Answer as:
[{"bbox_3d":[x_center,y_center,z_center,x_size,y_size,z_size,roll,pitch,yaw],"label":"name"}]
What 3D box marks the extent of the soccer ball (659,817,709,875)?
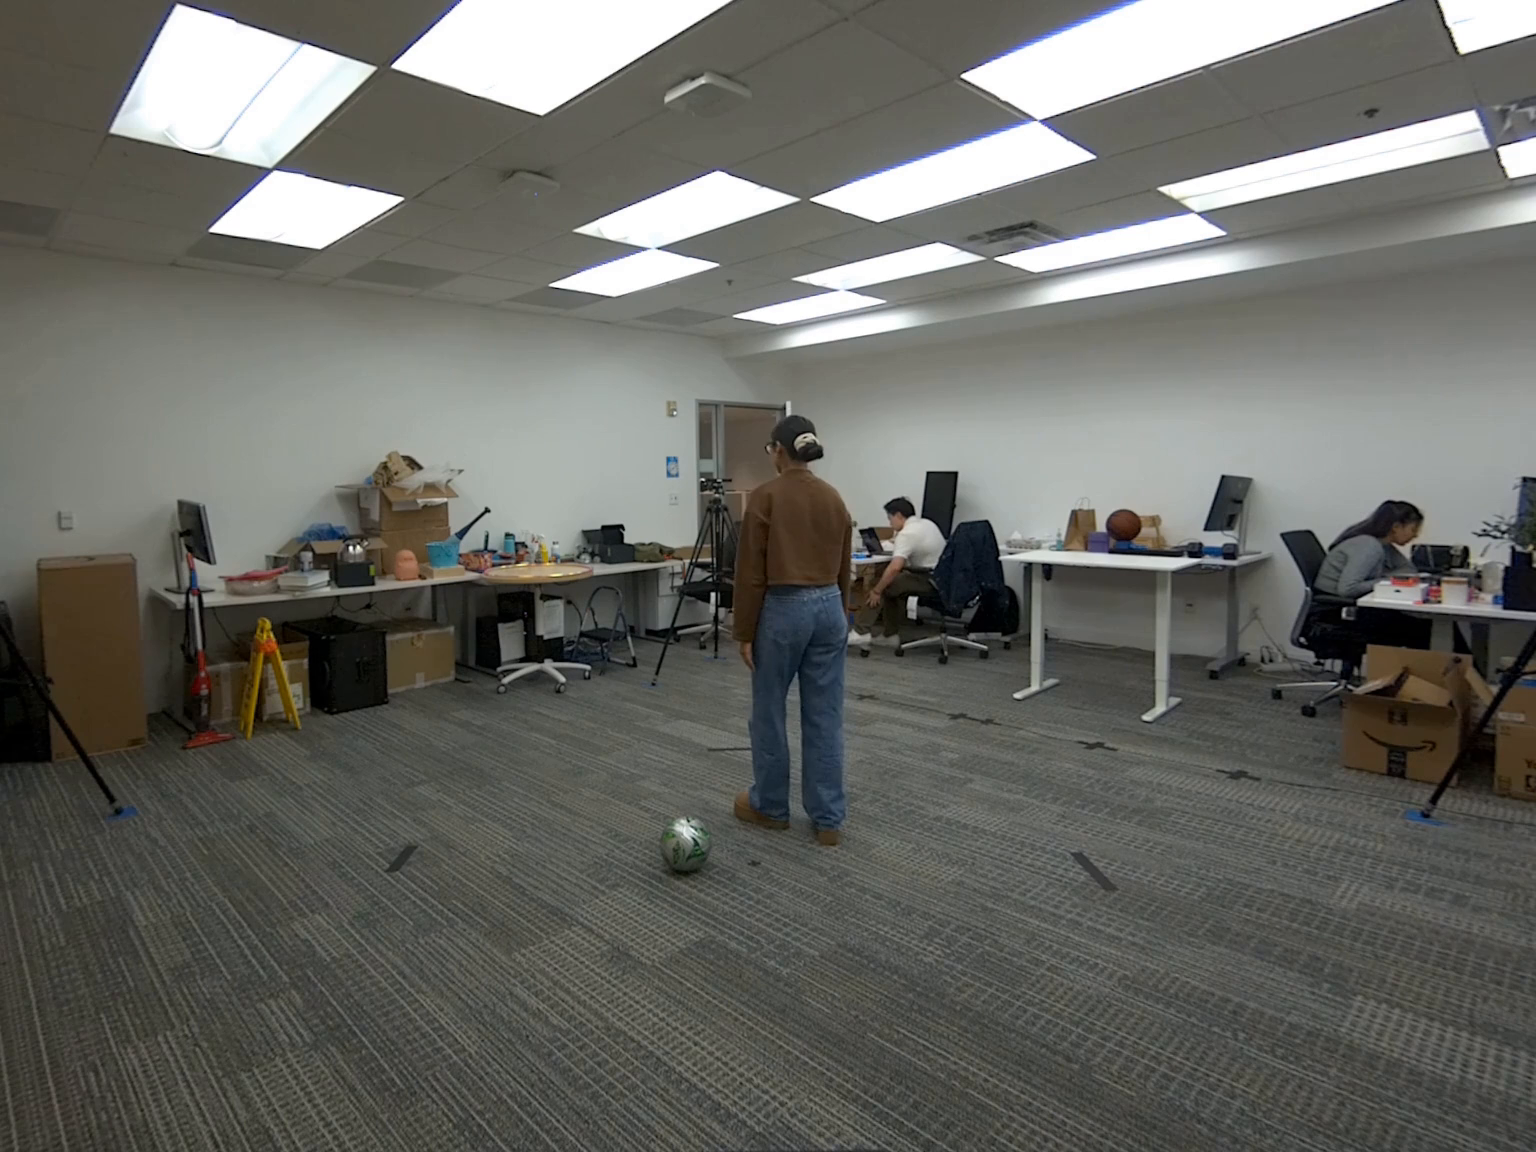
[{"bbox_3d":[-0.288,0.958,3.058,0.187,0.187,0.188,-1,5,-2],"label":"soccer ball"}]
